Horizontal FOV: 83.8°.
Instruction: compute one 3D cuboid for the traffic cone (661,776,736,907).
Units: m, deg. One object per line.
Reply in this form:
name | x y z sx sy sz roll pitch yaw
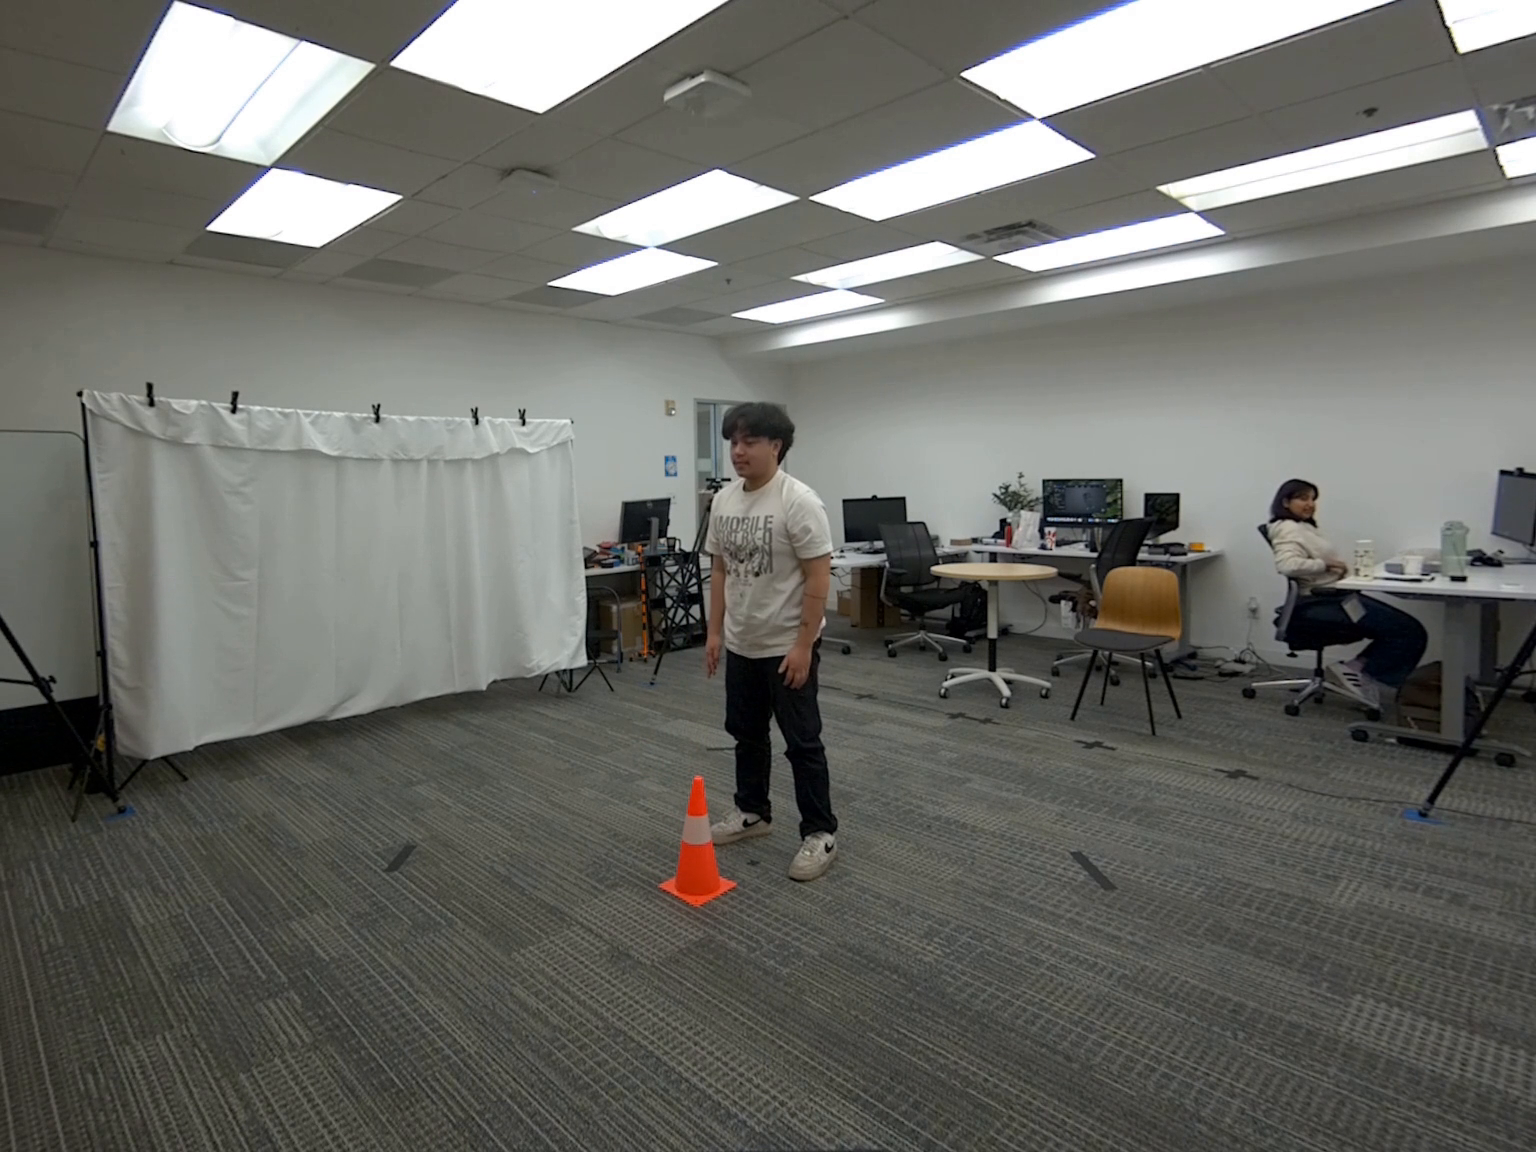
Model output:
traffic cone | -0.236 0.885 2.914 0.211 0.382 0.198 4 7 36
